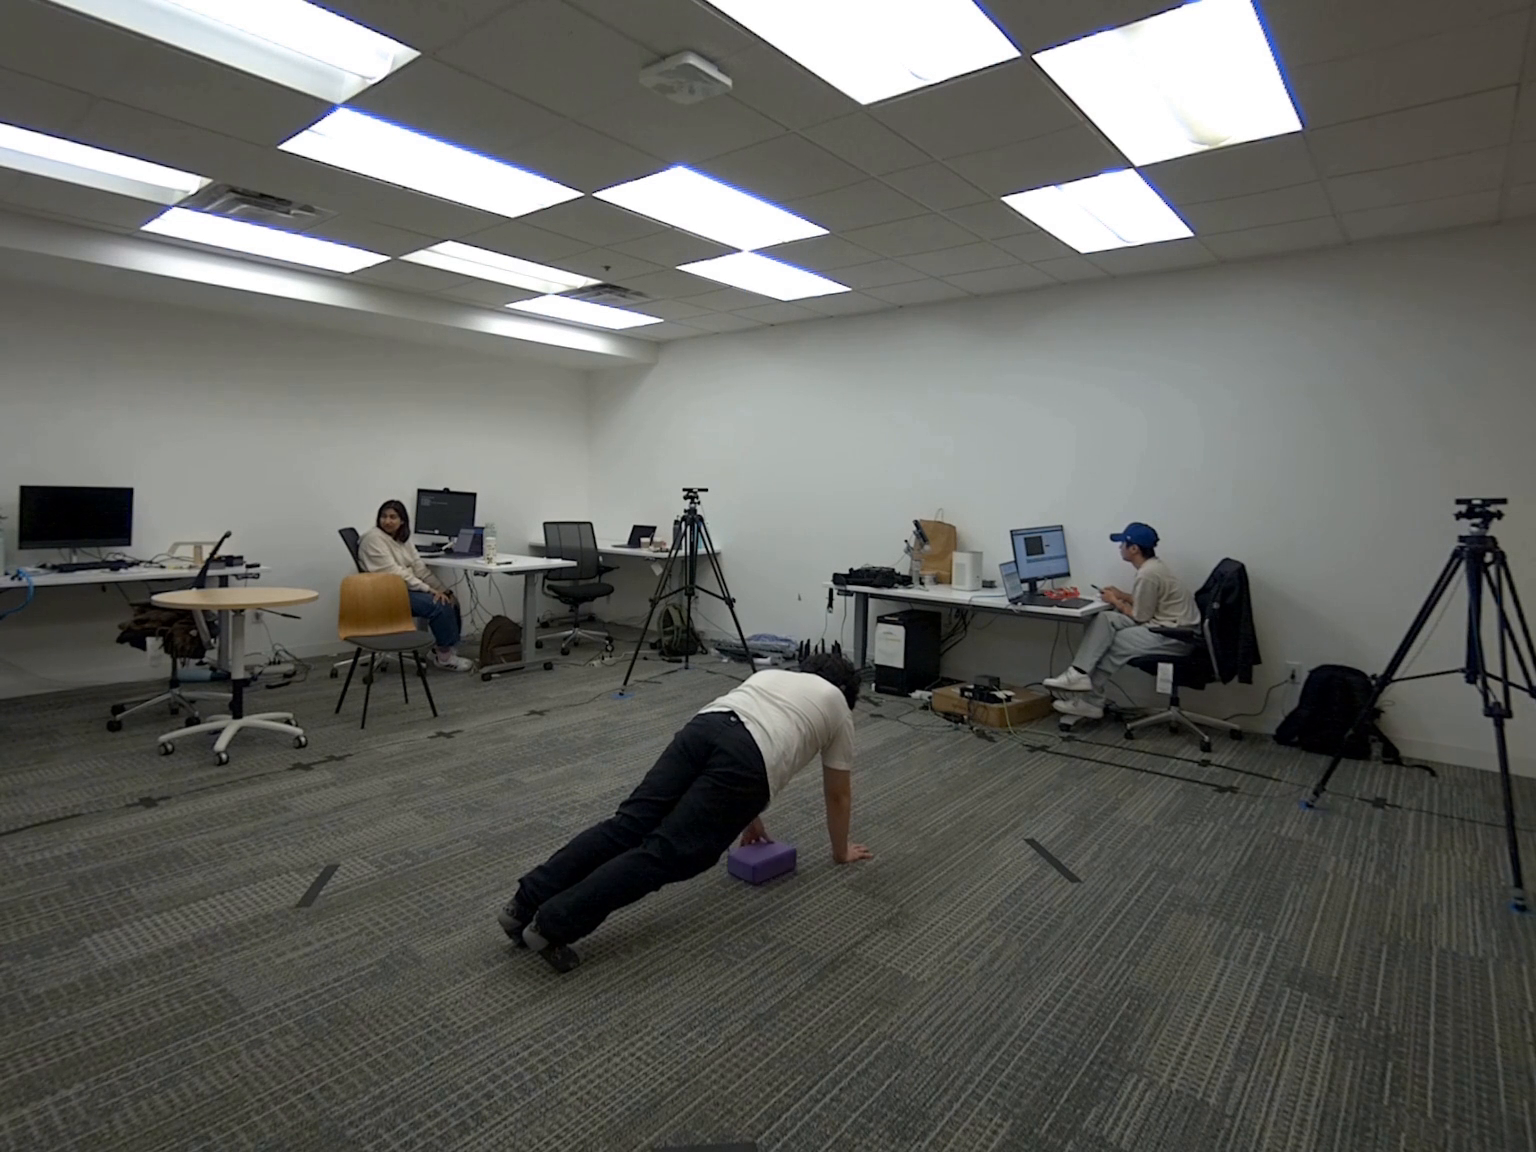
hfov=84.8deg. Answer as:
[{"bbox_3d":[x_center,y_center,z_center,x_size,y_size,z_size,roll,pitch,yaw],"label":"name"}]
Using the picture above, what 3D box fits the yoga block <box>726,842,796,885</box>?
[{"bbox_3d":[-0.026,1.033,3.103,0.222,0.076,0.154,-2,5,-43],"label":"yoga block"}]
